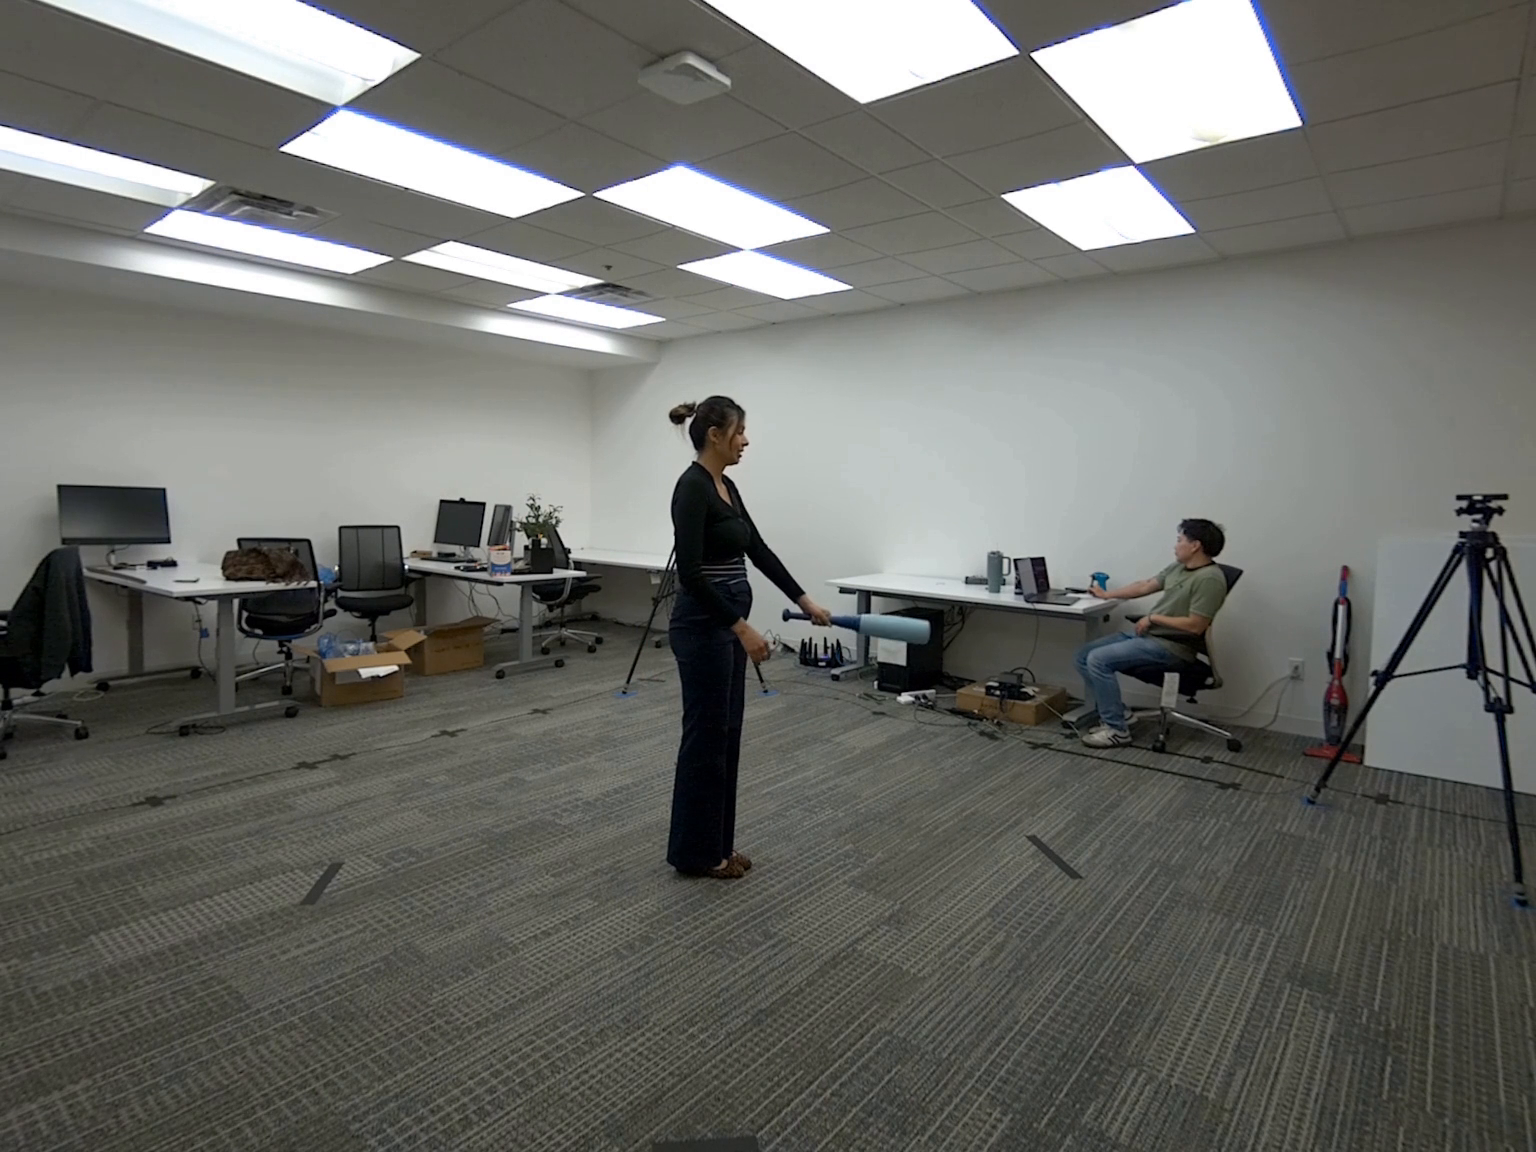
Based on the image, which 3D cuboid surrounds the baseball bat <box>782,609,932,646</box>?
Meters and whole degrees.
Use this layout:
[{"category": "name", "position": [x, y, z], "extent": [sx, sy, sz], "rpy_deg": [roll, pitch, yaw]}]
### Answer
[{"category": "baseball bat", "position": [0.302, 0.173, 3.161], "extent": [0.549, 0.089, 0.088], "rpy_deg": [6, 5, 10]}]
